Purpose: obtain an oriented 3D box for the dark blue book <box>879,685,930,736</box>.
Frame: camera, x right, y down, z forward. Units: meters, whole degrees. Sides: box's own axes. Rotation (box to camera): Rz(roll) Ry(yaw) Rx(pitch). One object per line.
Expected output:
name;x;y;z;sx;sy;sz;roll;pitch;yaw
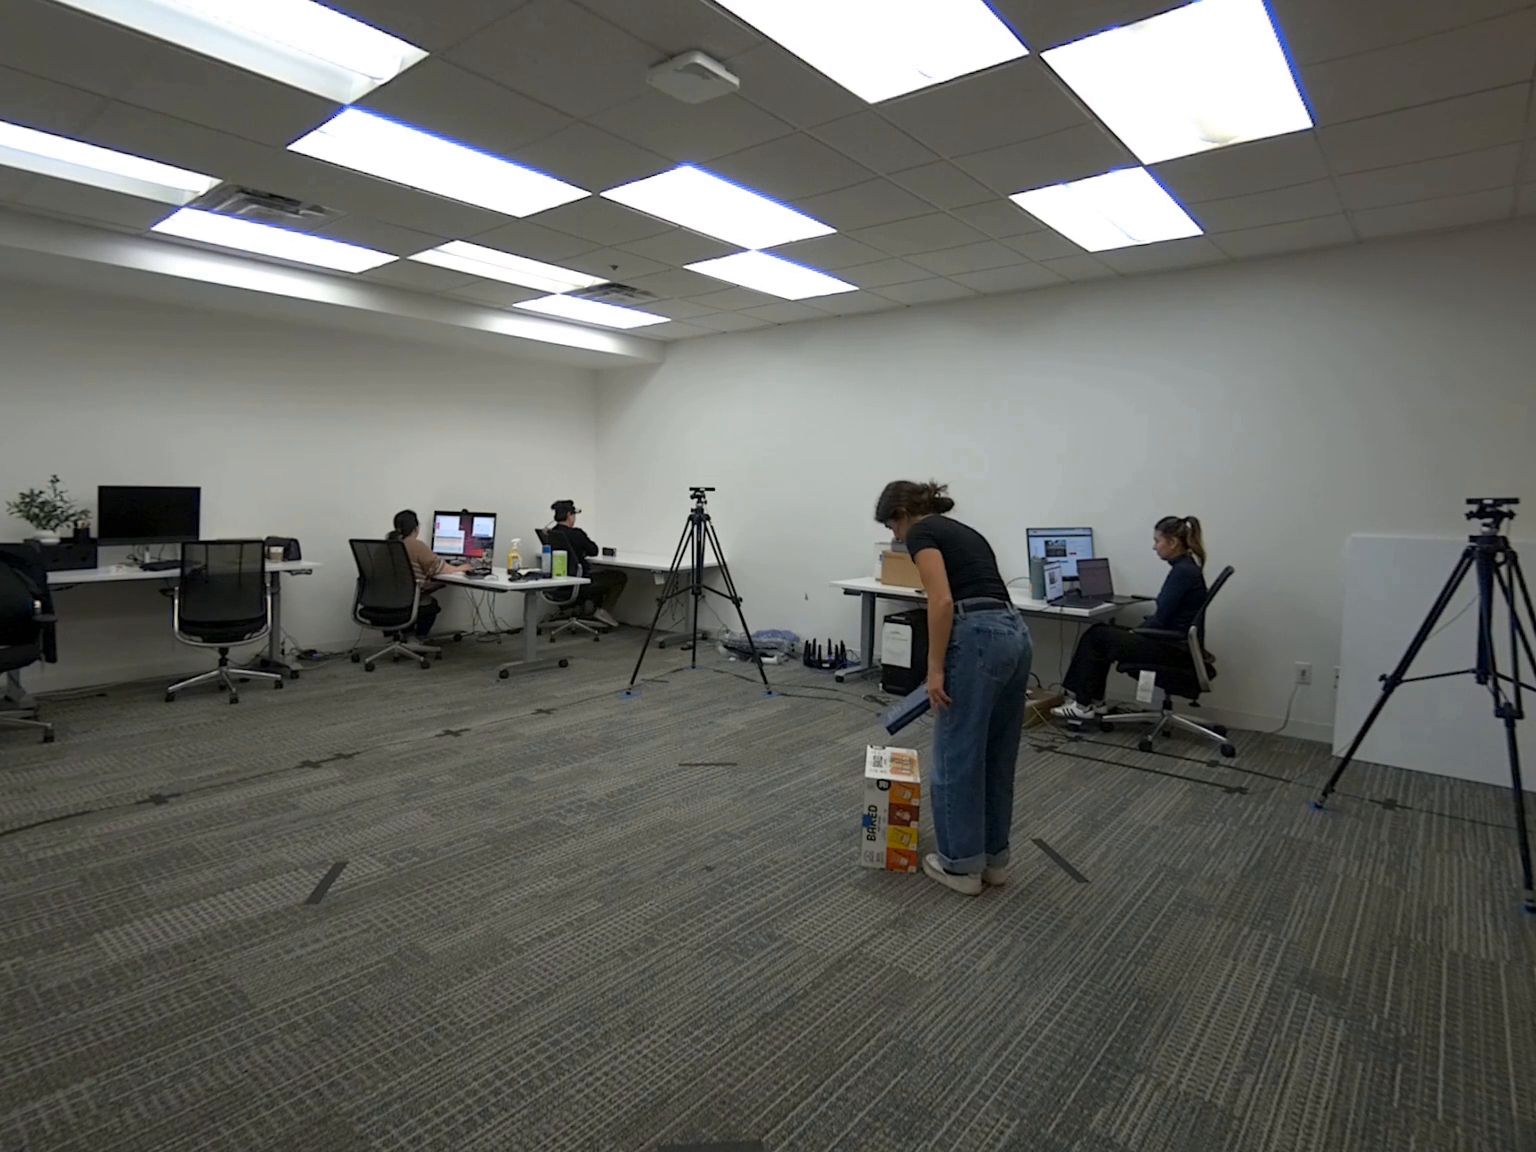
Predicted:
dark blue book;0.553;0.517;3.342;0.245;0.045;0.164;-37;5;3
